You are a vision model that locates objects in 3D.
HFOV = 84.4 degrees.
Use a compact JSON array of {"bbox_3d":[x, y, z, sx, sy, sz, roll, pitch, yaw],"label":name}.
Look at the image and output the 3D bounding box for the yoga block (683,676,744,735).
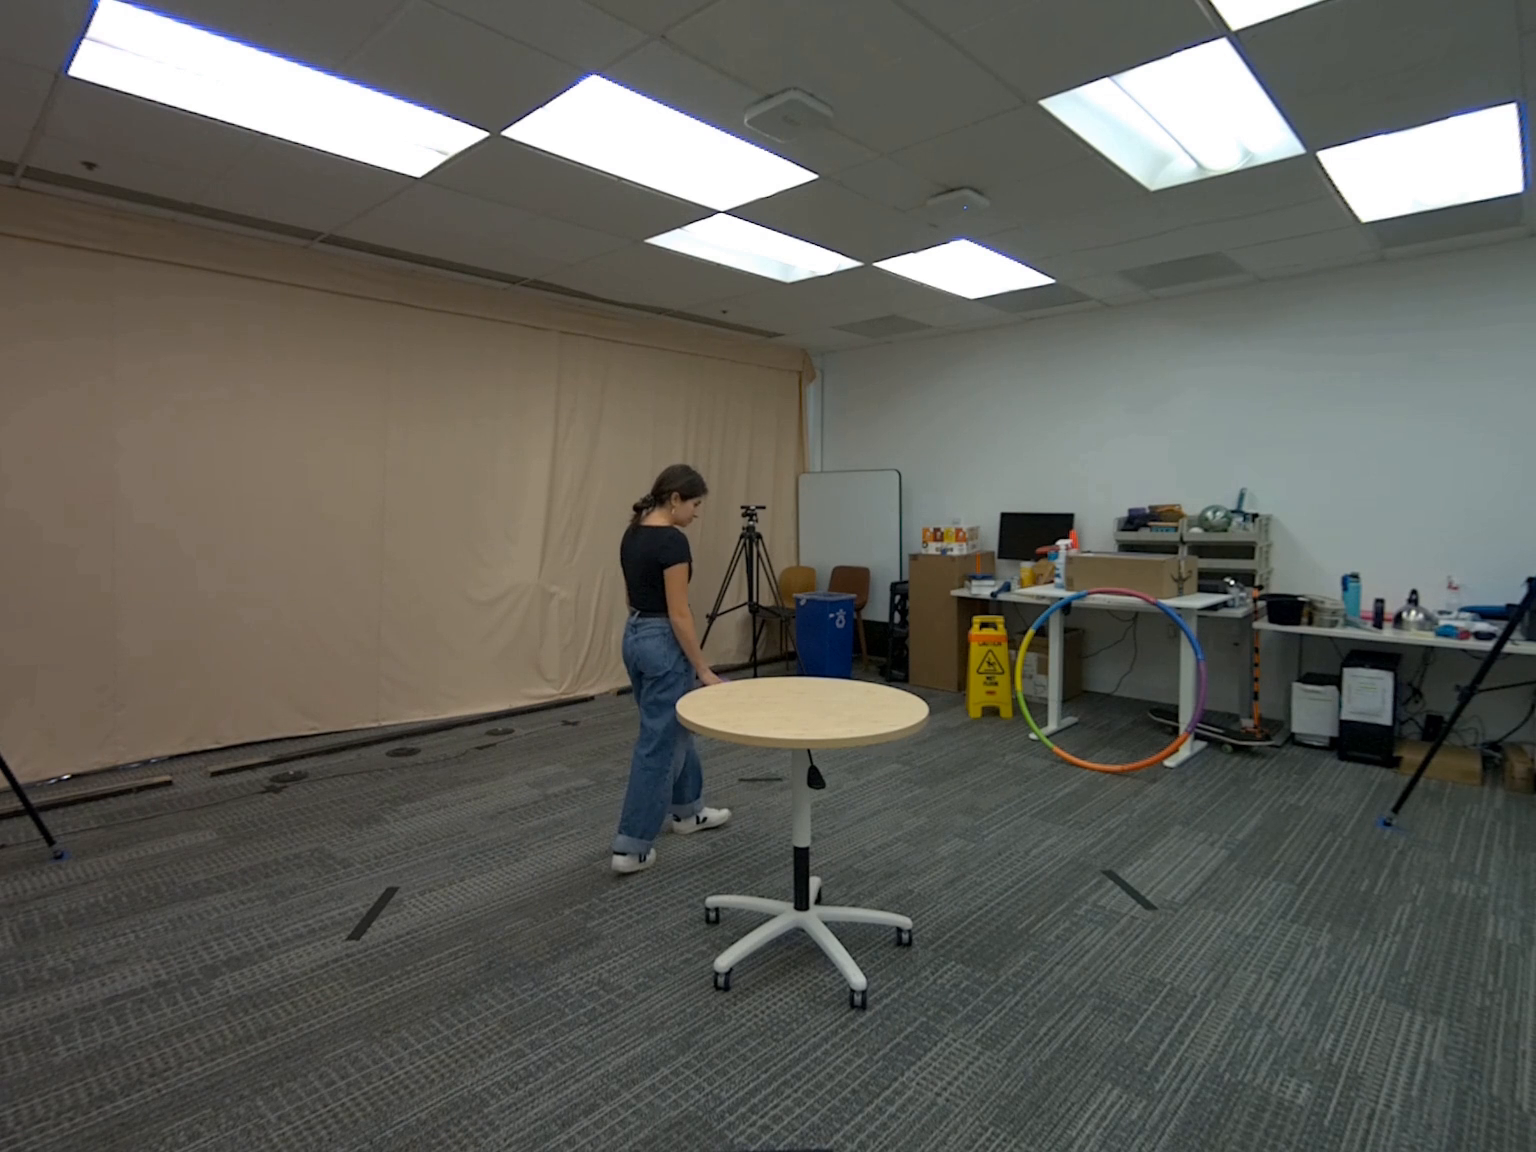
[{"bbox_3d":[-0.211,0.495,3.258,0.079,0.148,0.223,21,23,39],"label":"yoga block"}]
